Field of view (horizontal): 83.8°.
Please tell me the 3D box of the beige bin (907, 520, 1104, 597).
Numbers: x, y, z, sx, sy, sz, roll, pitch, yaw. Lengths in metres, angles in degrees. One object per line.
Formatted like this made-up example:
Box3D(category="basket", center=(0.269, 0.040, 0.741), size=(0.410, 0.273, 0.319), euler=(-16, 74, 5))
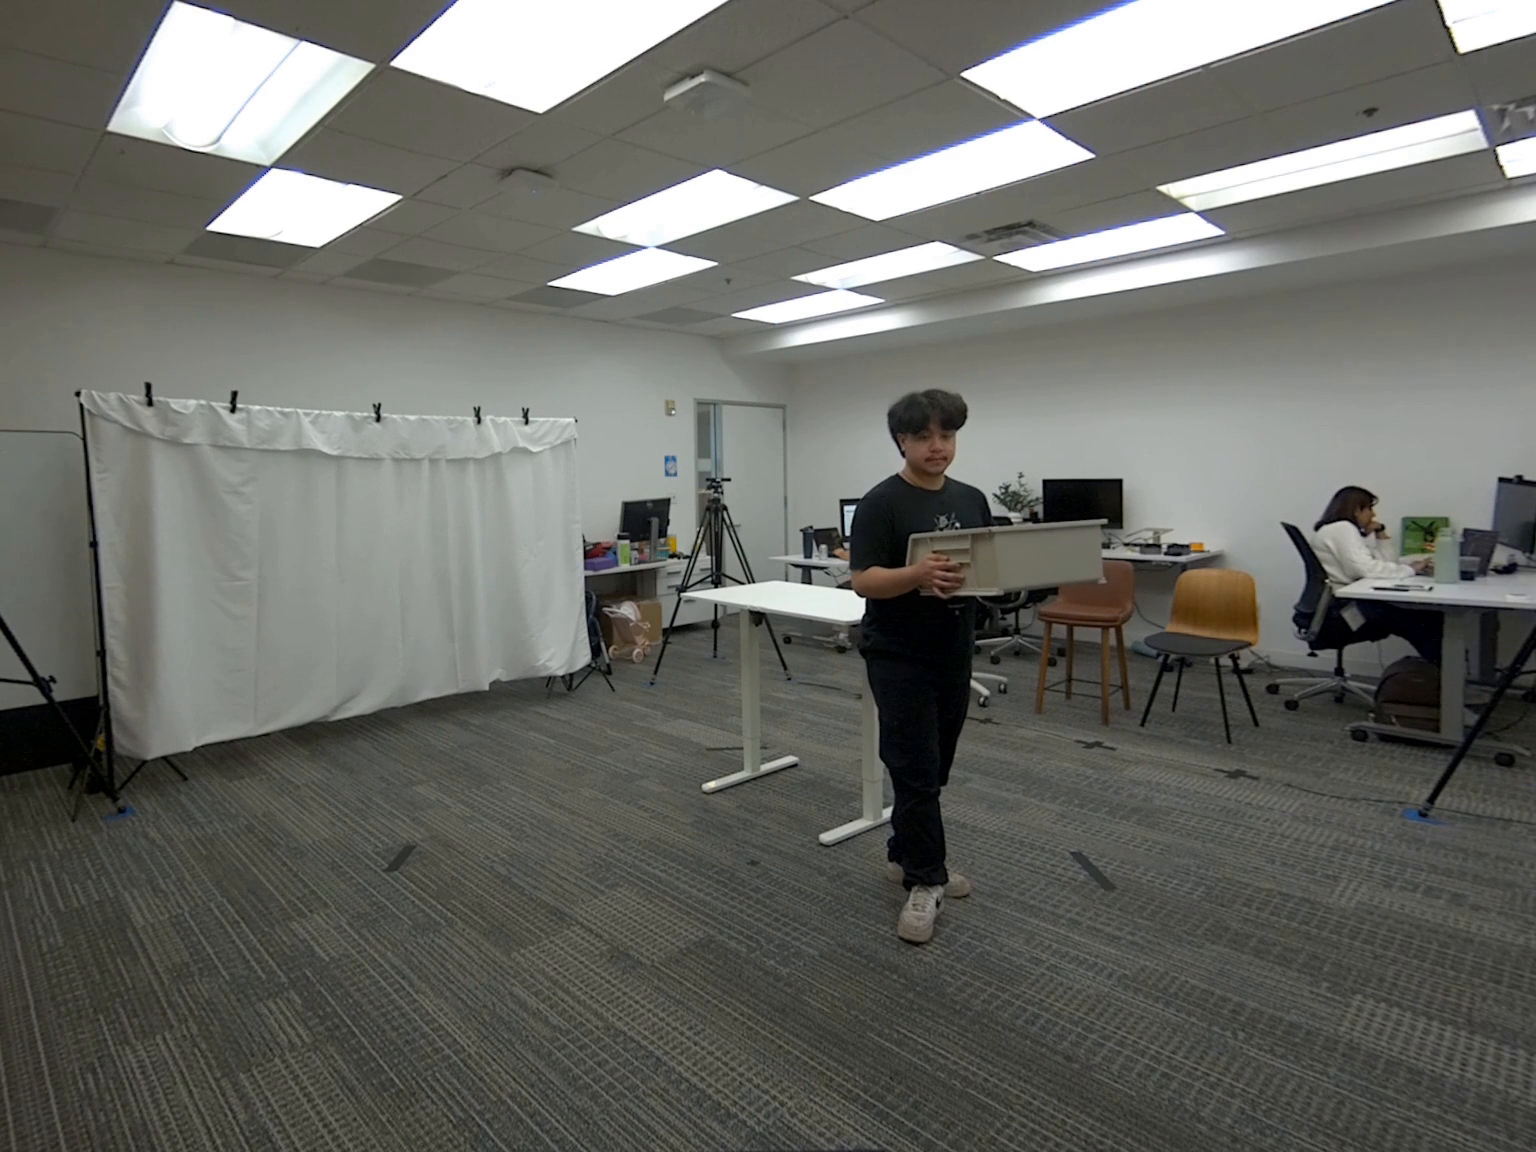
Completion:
Box3D(category="beige bin", center=(0.675, -0.049, 2.475), size=(0.413, 0.189, 0.386), euler=(-4, 2, -27))
